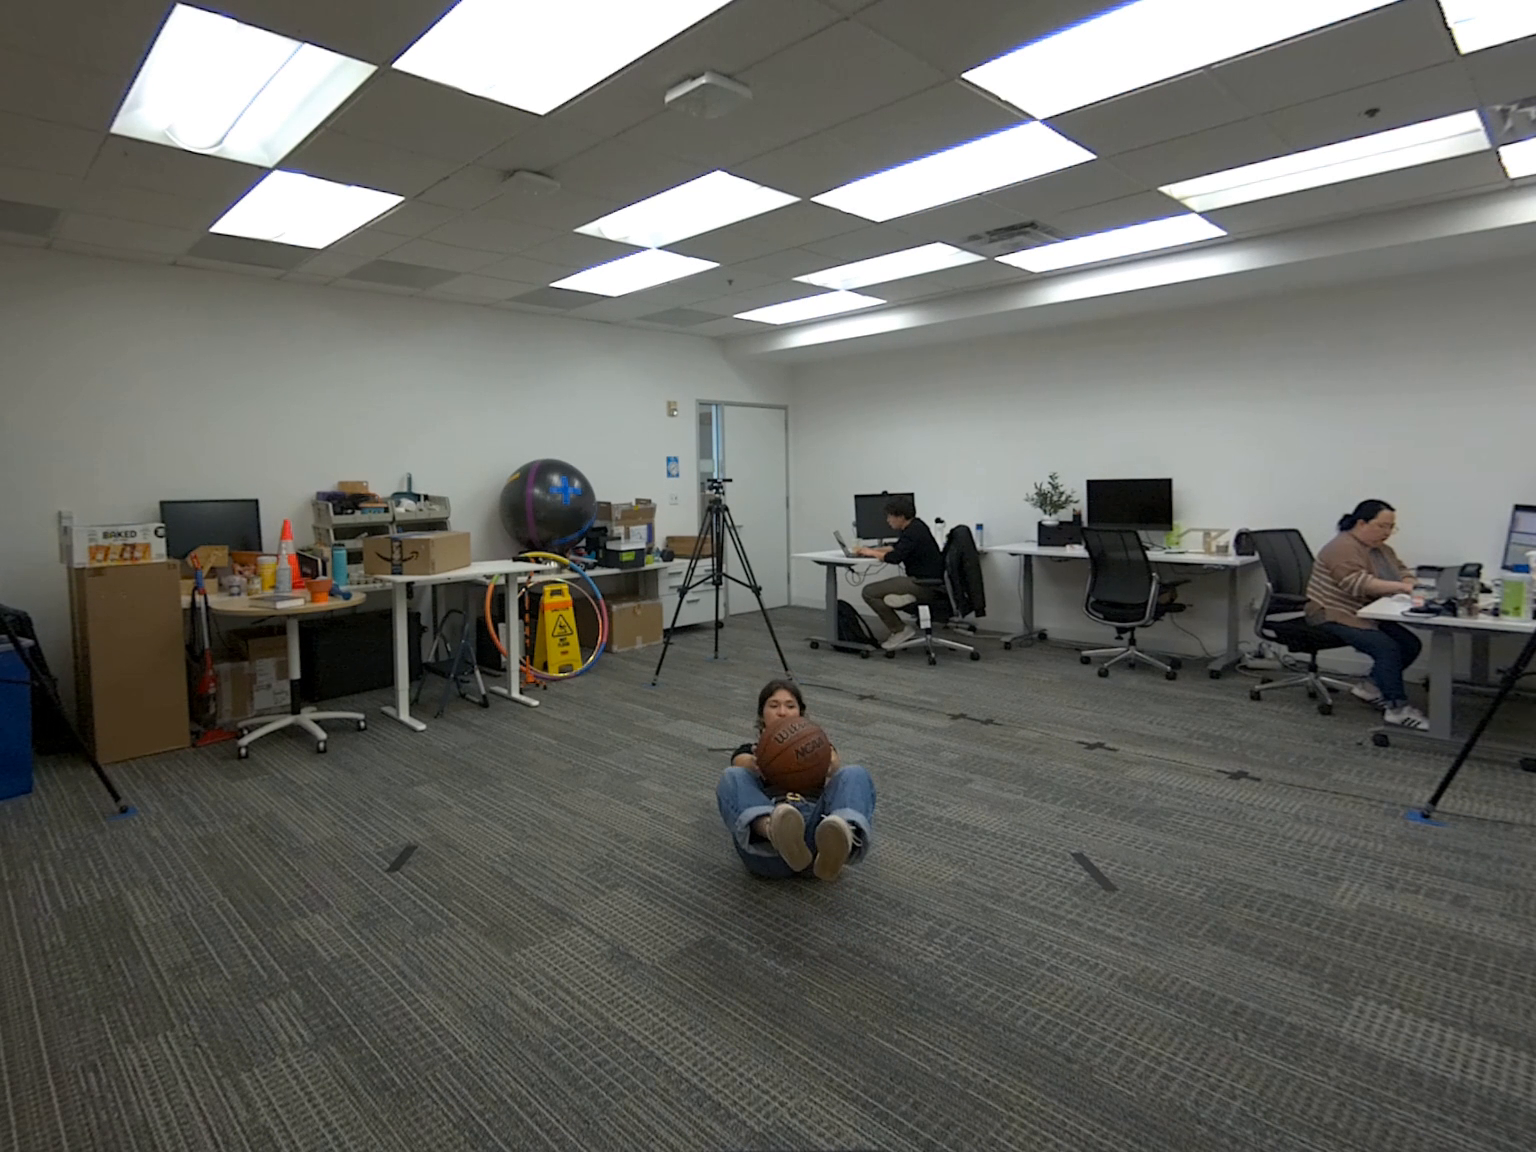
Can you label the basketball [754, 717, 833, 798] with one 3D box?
[{"bbox_3d":[0.087,0.573,2.747,0.236,0.235,0.237,-1,5,-2],"label":"basketball"}]
